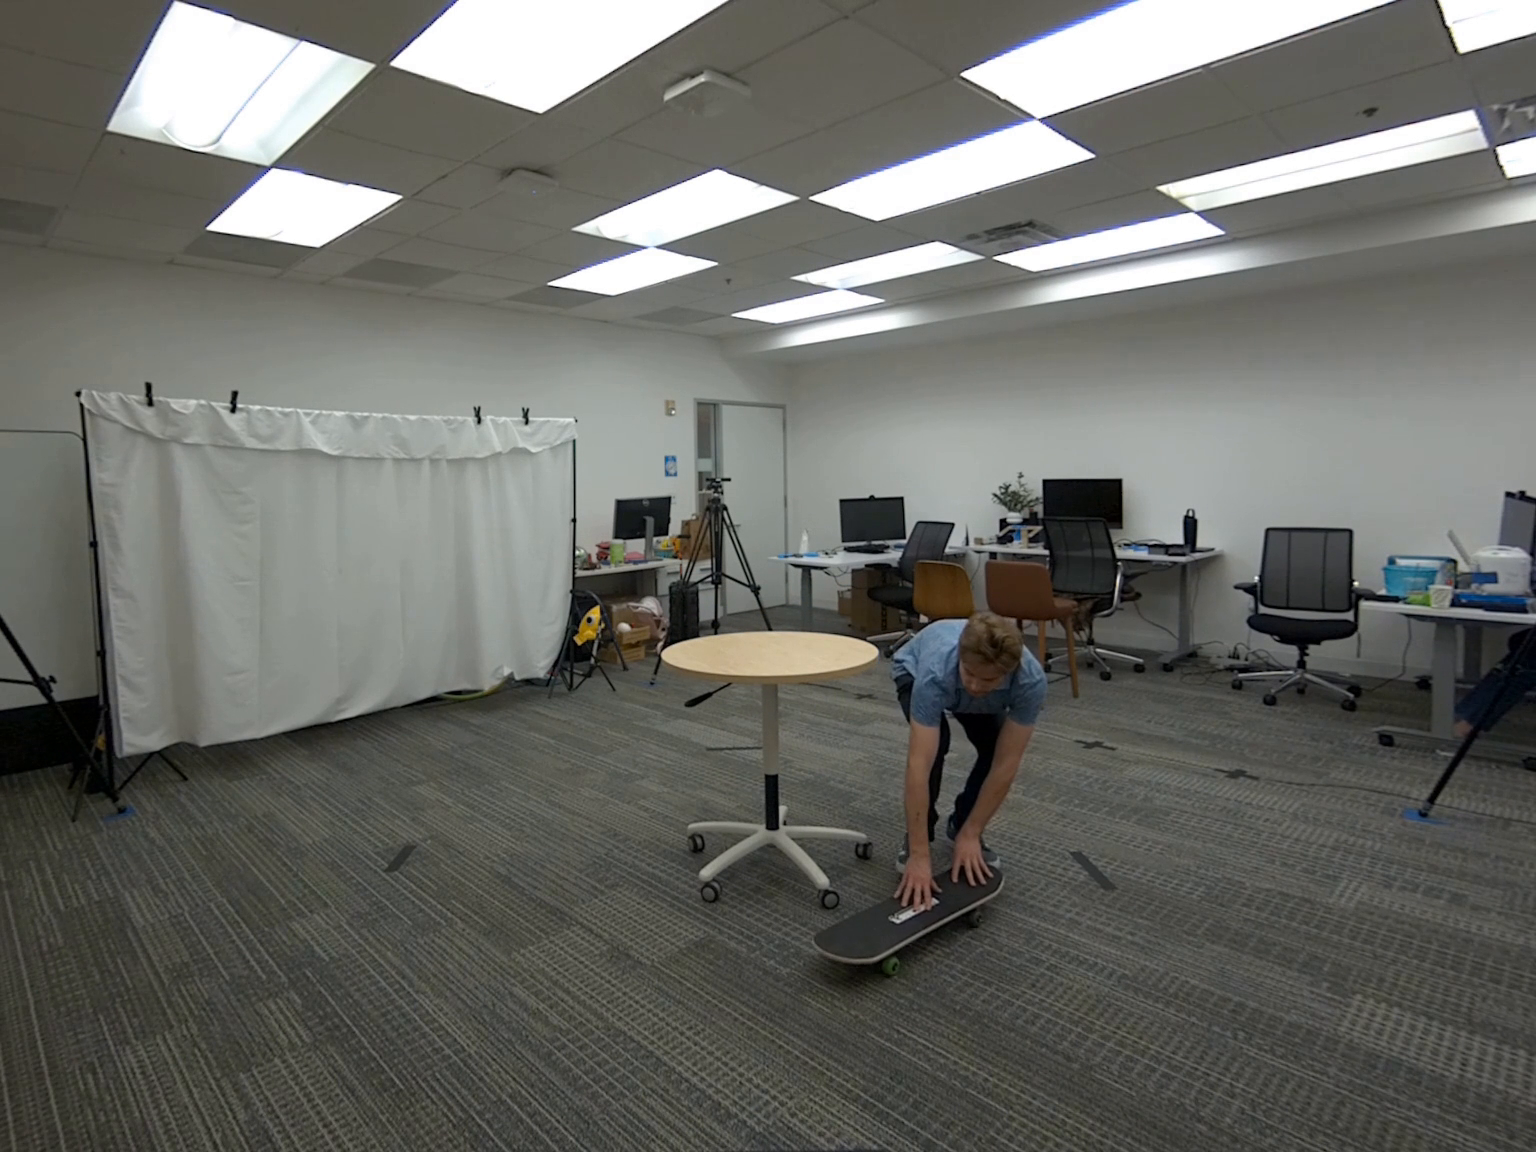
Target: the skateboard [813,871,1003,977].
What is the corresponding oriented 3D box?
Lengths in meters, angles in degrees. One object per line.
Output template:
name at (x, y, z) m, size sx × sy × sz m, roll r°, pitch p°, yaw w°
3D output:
skateboard at (0.448, 1.041, 2.577) m, size 0.765 × 0.110 × 0.199 m, roll -6°, pitch 8°, yaw -40°
